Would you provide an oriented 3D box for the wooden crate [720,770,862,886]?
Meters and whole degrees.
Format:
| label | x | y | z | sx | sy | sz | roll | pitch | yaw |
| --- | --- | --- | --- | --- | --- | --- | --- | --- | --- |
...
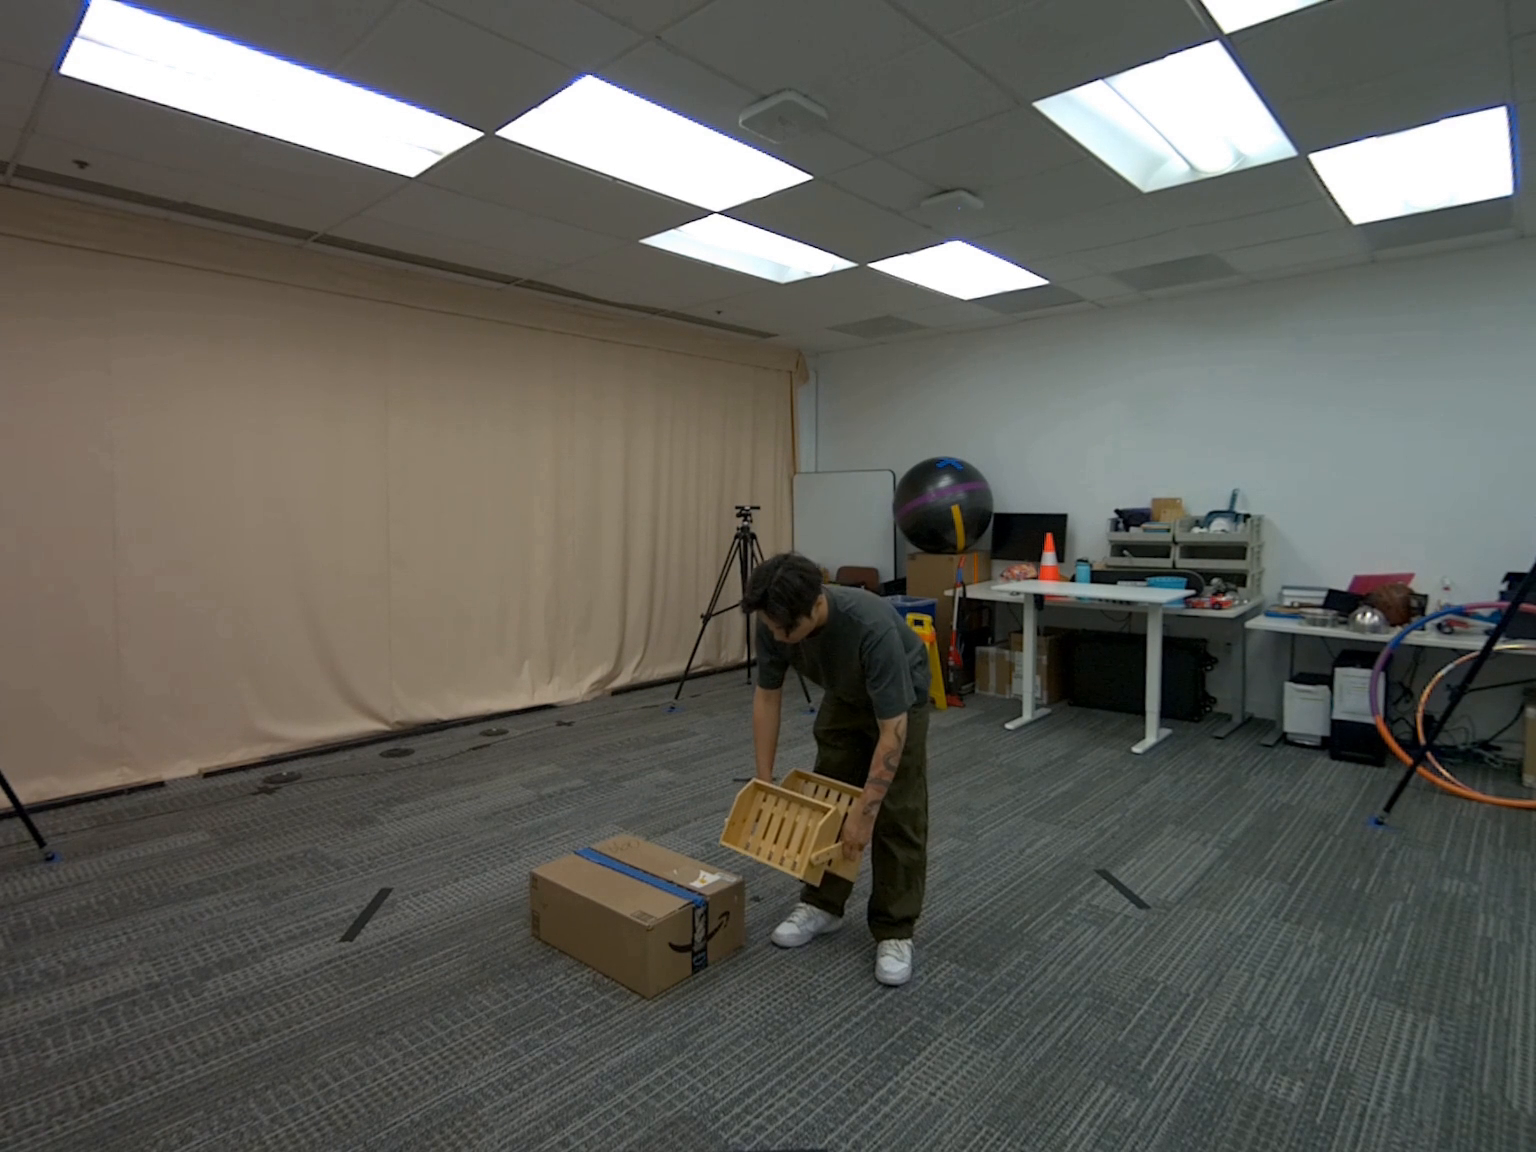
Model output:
| label | x | y | z | sx | sy | sz | roll | pitch | yaw |
| --- | --- | --- | --- | --- | --- | --- | --- | --- | --- |
| wooden crate | 0.099 | 0.703 | 2.434 | 0.335 | 0.303 | 0.263 | 6 | -24 | 42 |
